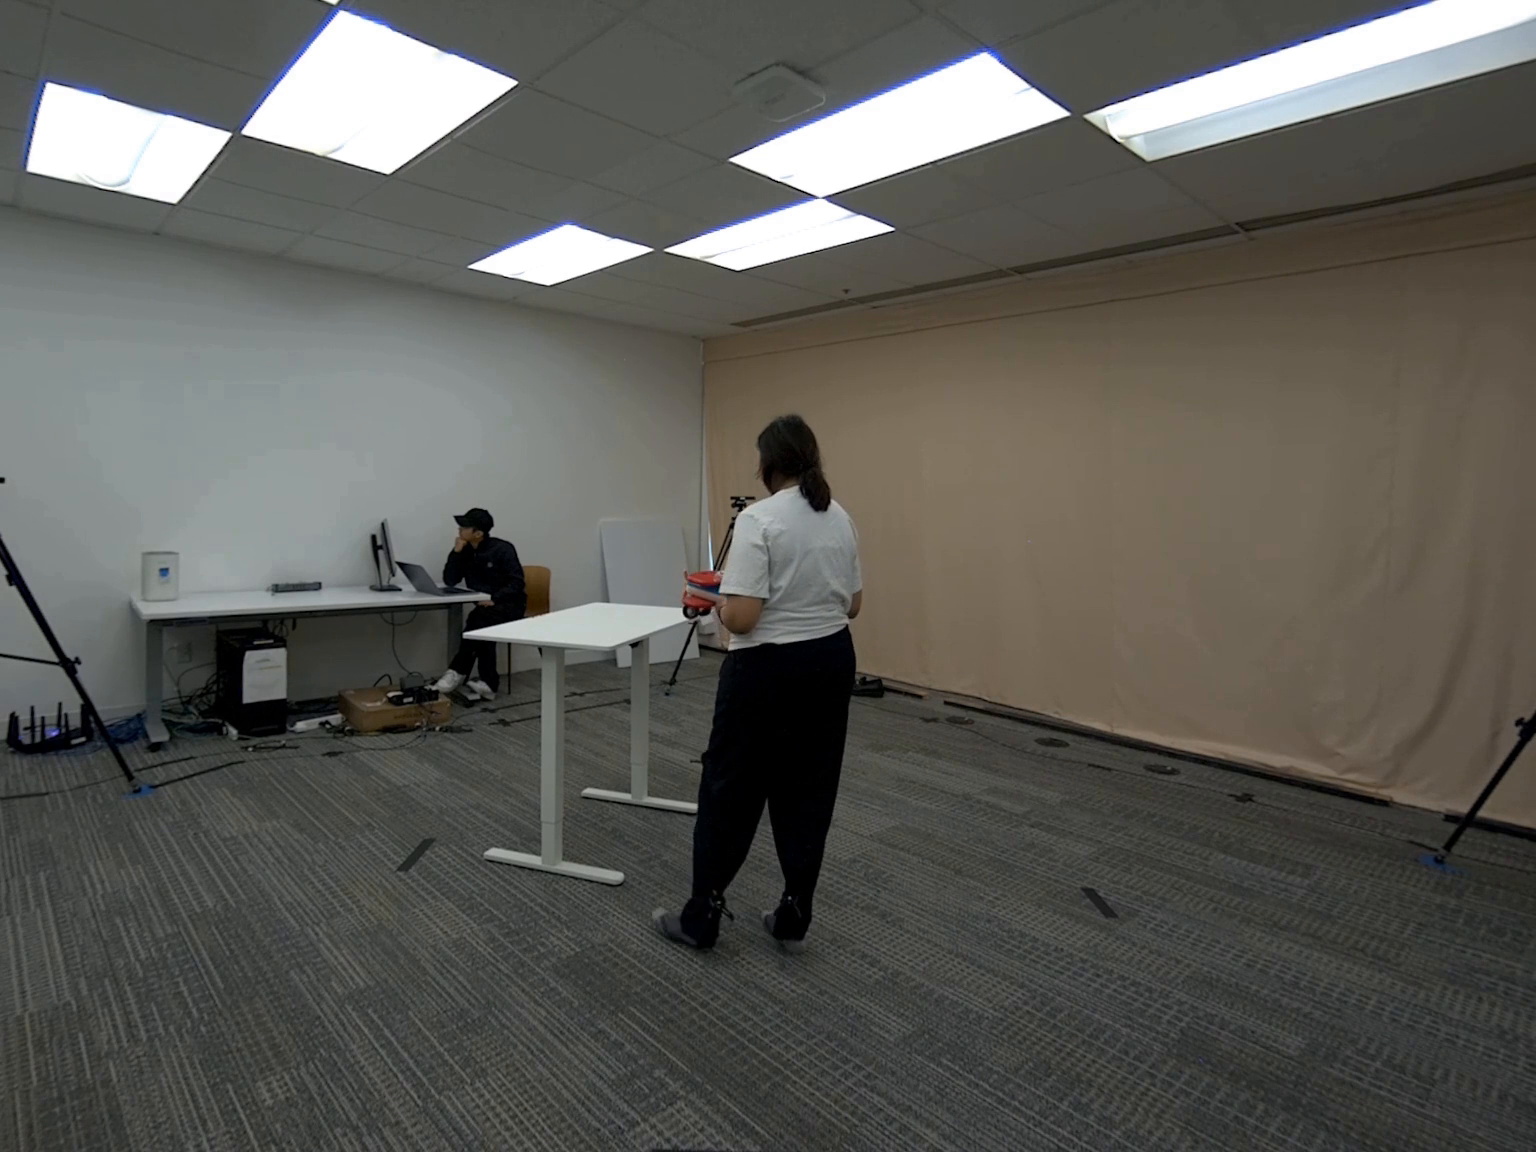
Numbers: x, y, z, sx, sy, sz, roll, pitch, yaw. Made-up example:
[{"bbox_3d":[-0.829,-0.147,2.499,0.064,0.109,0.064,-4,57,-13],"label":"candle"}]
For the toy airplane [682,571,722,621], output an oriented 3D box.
[{"bbox_3d":[-0.164,0.062,2.837,0.258,0.156,0.252,-1,3,-5],"label":"toy airplane"}]
